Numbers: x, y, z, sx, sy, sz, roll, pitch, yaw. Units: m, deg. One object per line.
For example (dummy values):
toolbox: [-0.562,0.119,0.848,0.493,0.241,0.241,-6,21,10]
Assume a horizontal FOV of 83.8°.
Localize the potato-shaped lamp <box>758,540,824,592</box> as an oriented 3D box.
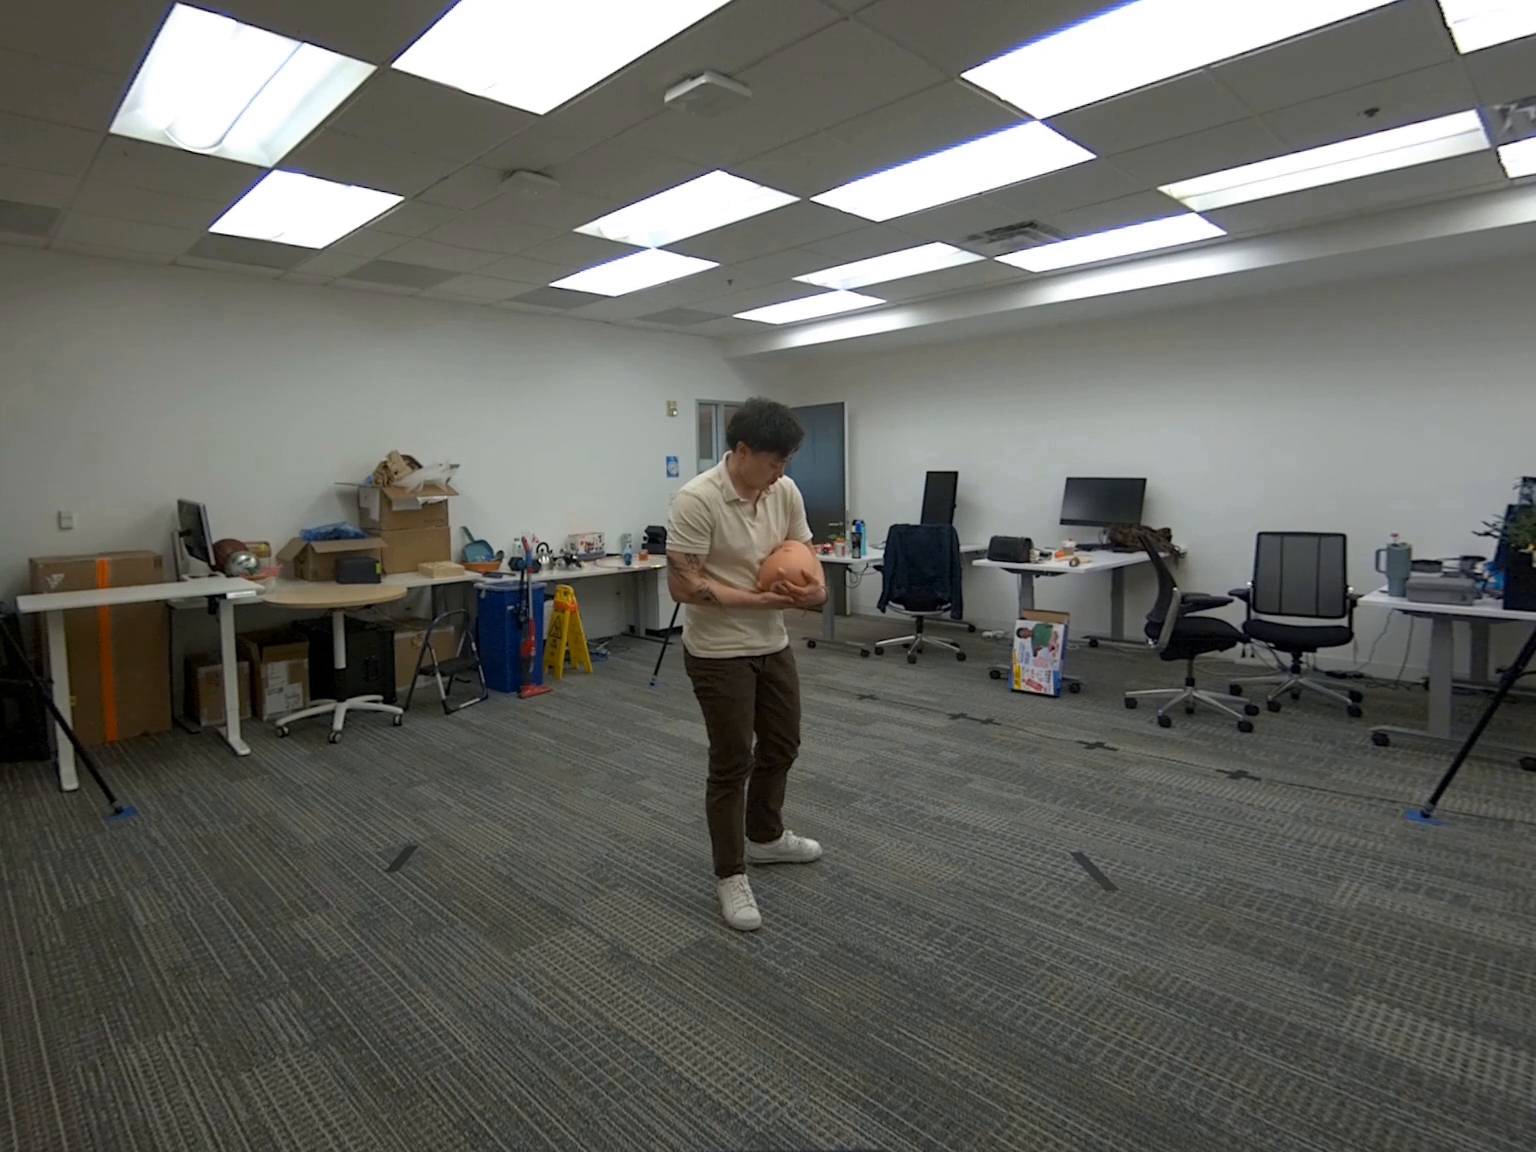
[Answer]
potato-shaped lamp: [0.055,-0.022,2.703,0.166,0.204,0.164,23,-52,-27]
